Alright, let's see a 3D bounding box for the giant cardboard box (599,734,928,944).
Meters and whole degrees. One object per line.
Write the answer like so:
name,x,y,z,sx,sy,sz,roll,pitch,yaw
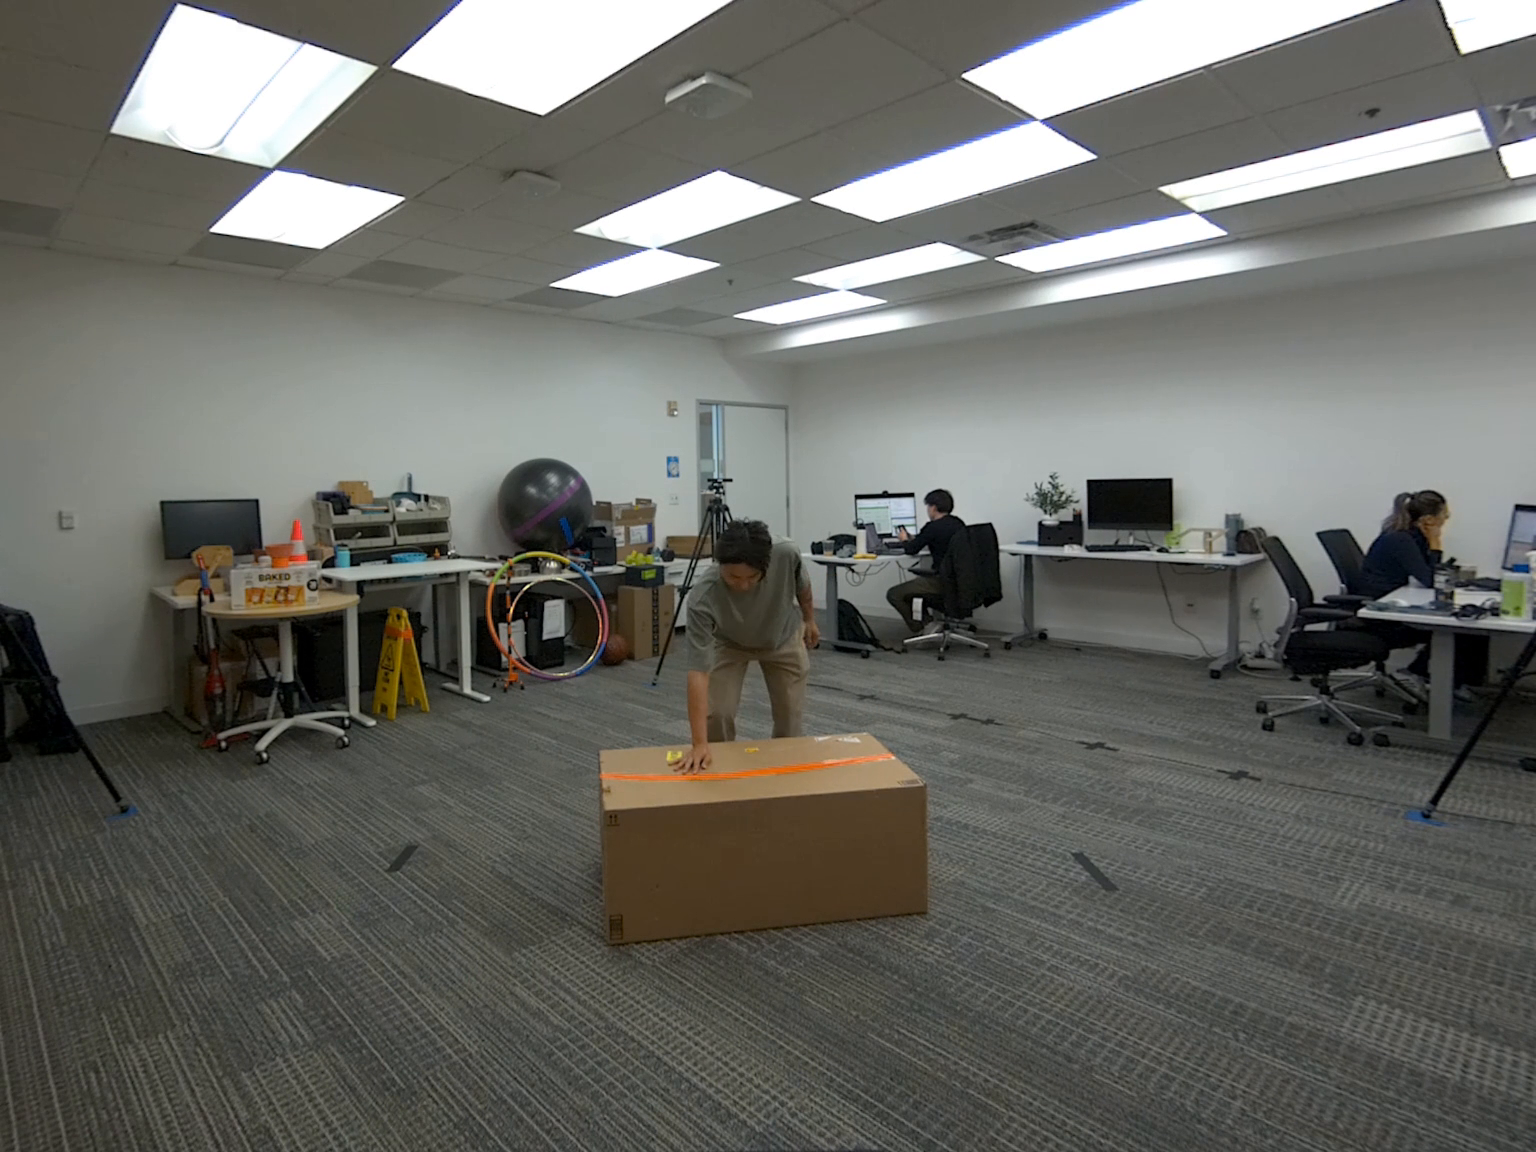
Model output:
giant cardboard box,-0.051,0.853,2.912,1.016,0.425,0.585,-2,5,-10
